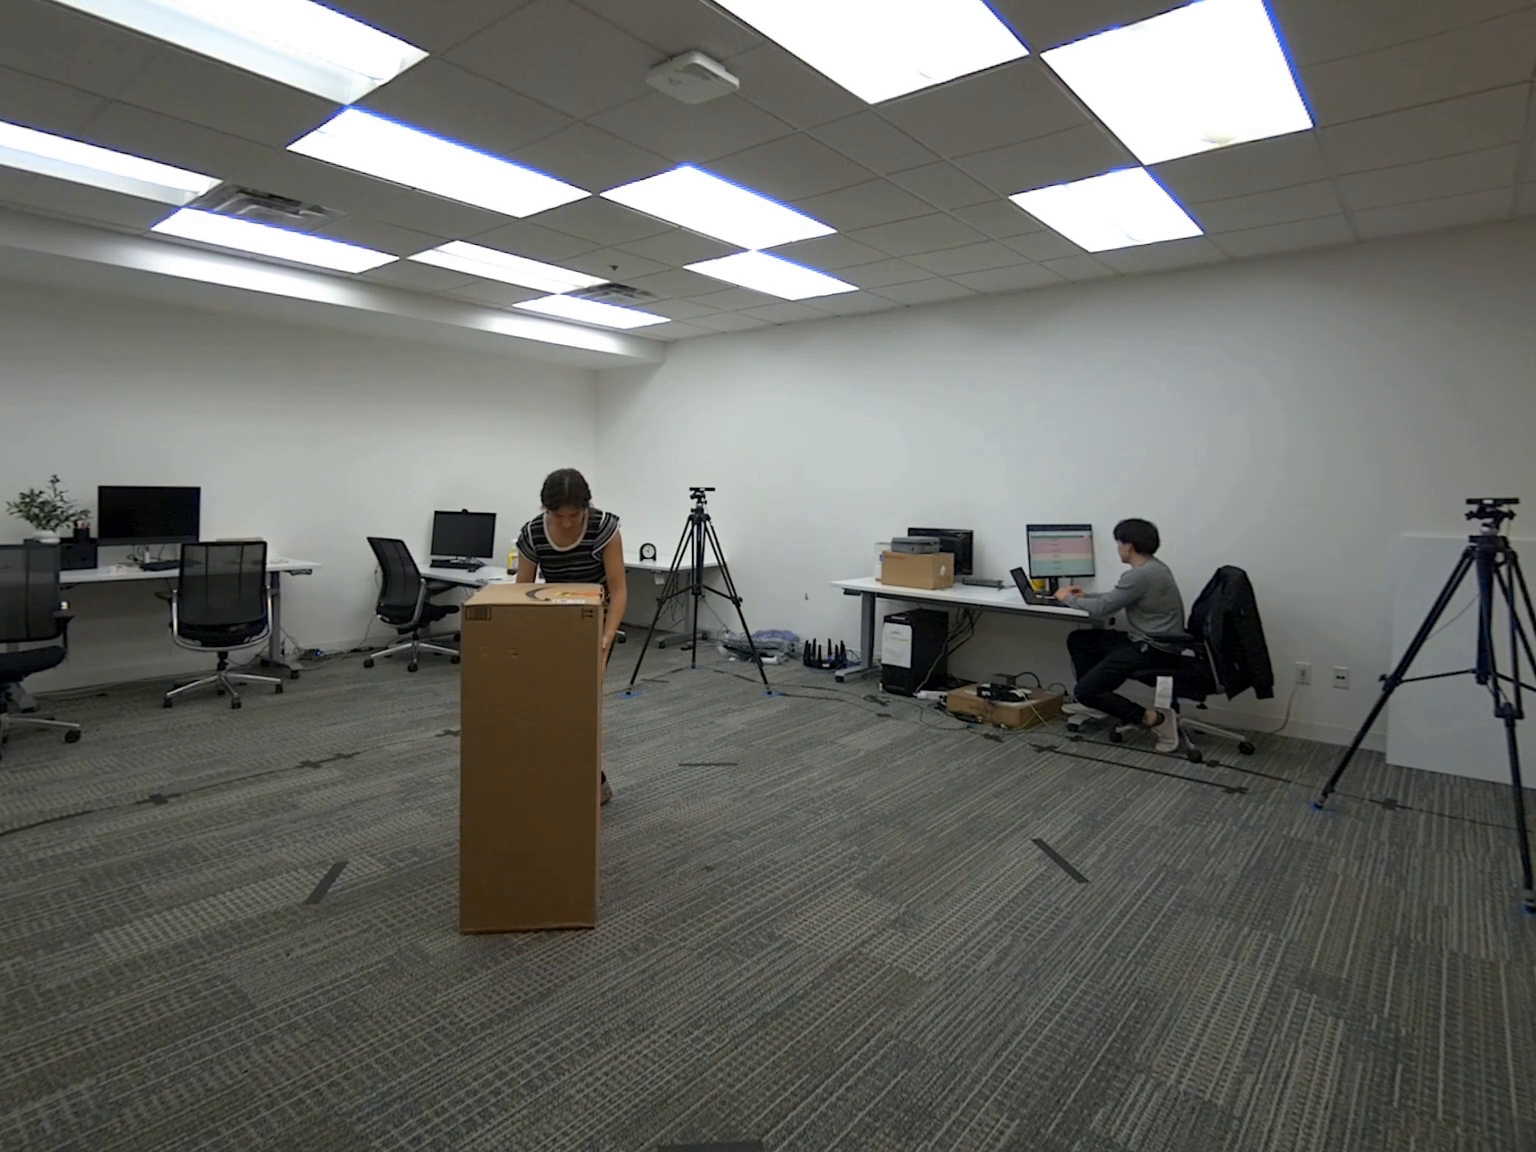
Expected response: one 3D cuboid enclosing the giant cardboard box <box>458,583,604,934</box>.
[{"bbox_3d":[-0.797,0.567,2.901,0.422,1.023,0.585,0,3,-10],"label":"giant cardboard box"}]
